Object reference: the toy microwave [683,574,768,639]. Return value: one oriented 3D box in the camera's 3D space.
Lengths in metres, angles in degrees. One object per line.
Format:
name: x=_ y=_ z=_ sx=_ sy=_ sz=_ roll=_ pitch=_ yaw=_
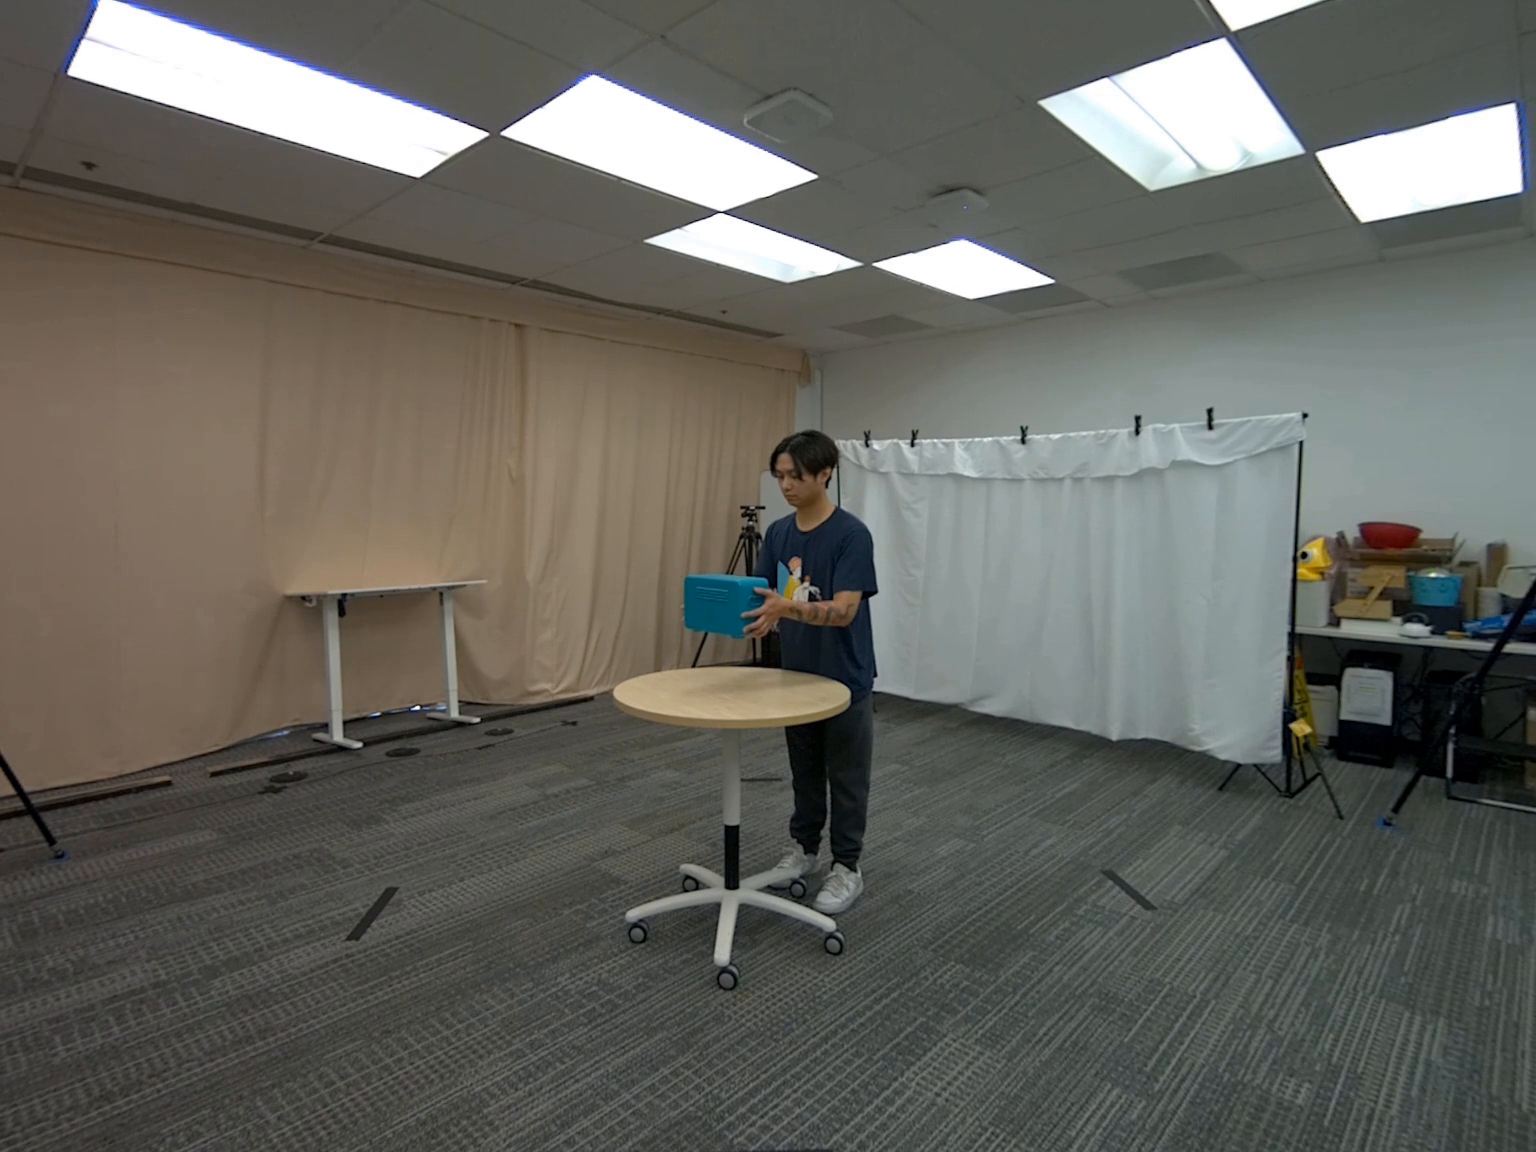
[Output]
toy microwave: x=-0.125 y=0.094 z=2.697 sx=0.148 sy=0.184 sz=0.296 roll=-3 pitch=5 yaw=-42
